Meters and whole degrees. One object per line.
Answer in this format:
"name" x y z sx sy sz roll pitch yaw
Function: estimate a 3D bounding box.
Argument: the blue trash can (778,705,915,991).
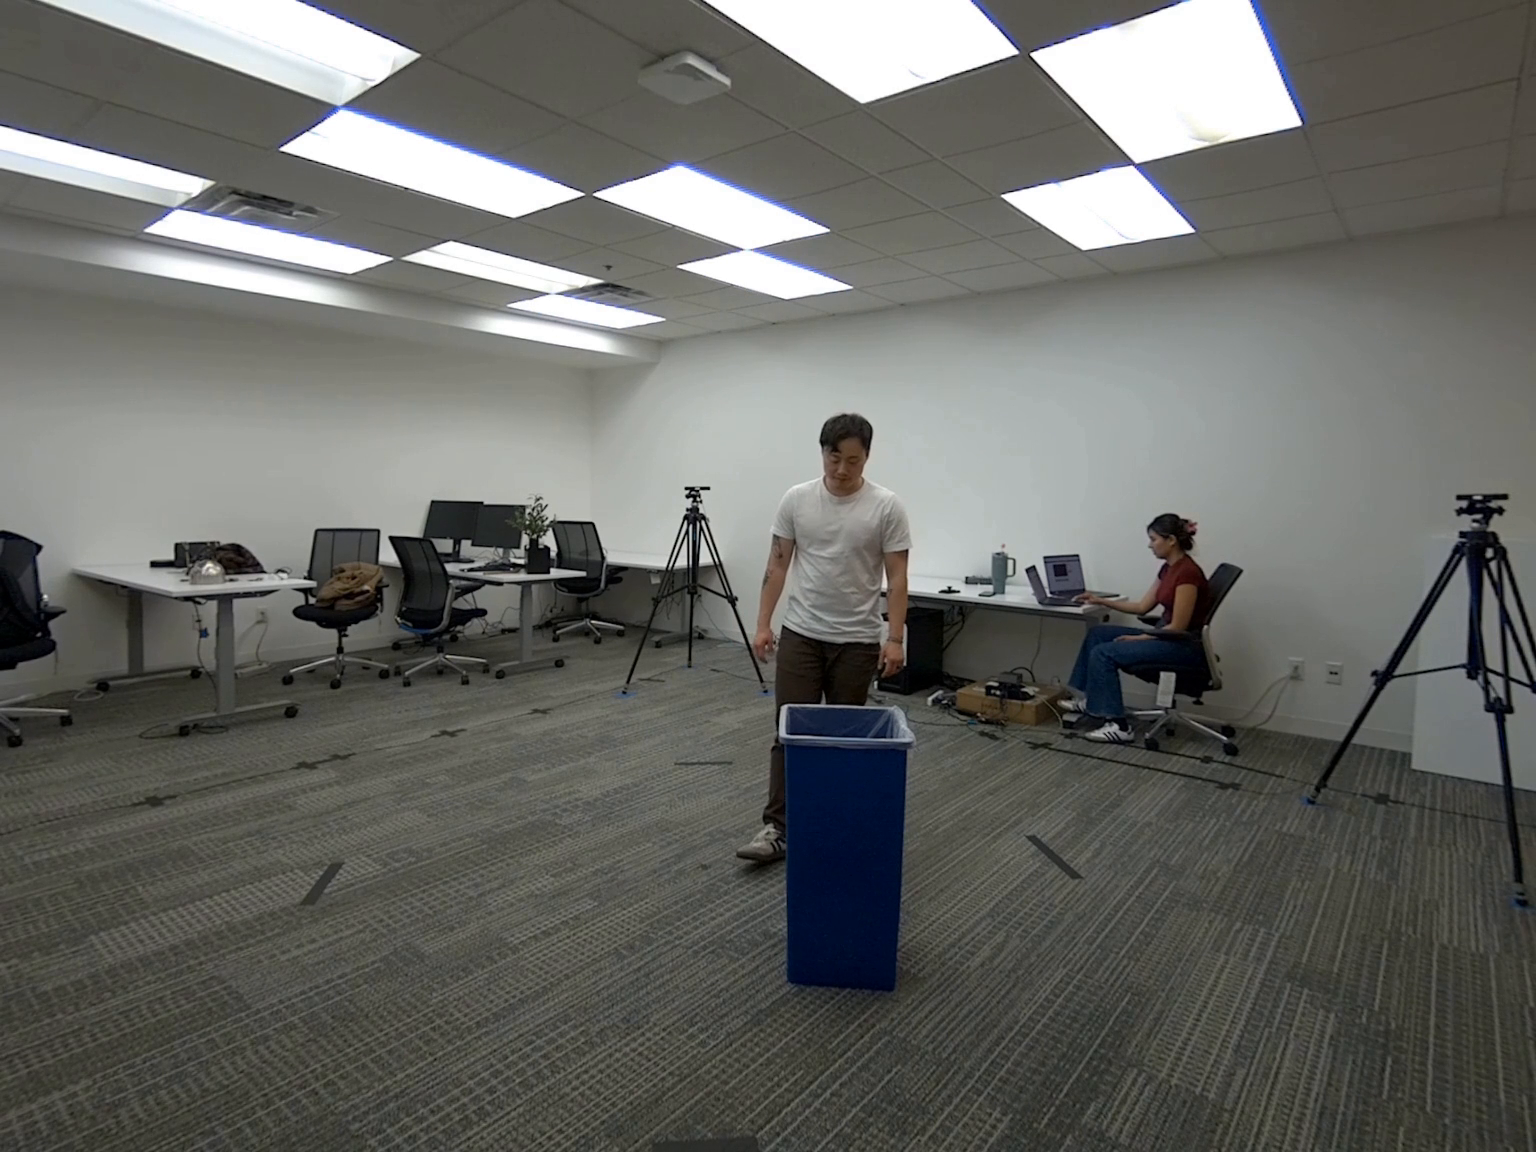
"blue trash can" 0.210 0.773 2.516 0.380 0.711 0.374 1 4 3
